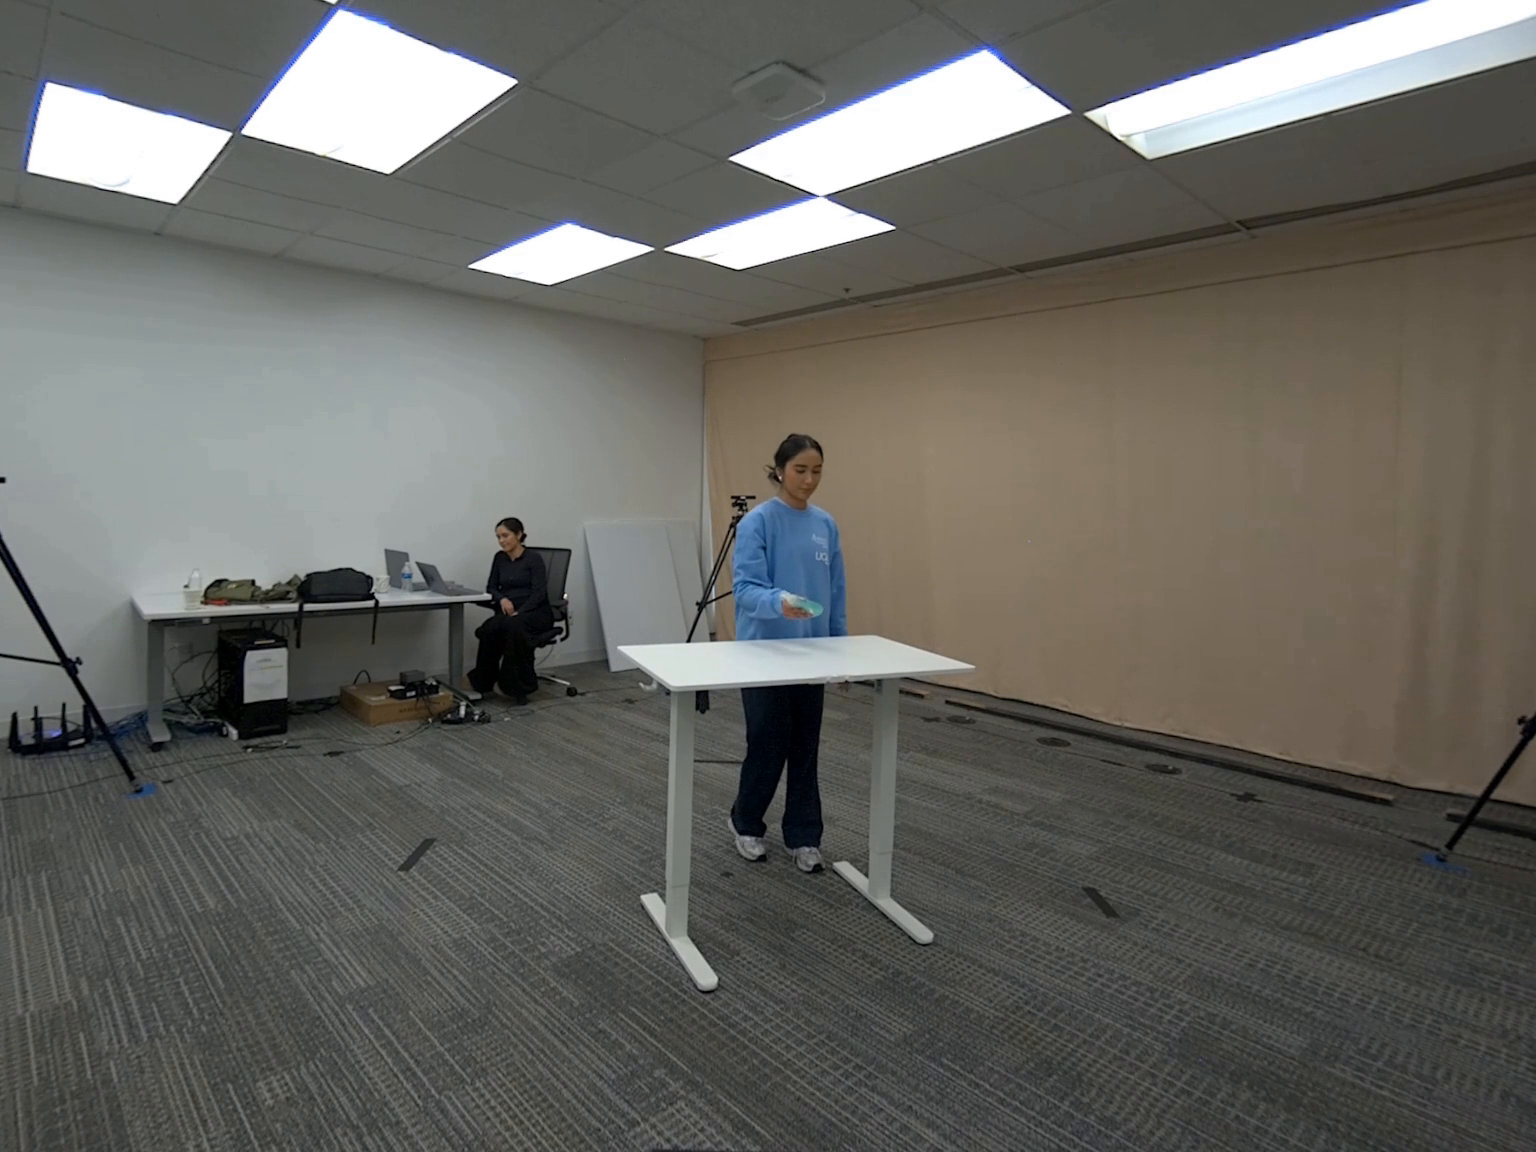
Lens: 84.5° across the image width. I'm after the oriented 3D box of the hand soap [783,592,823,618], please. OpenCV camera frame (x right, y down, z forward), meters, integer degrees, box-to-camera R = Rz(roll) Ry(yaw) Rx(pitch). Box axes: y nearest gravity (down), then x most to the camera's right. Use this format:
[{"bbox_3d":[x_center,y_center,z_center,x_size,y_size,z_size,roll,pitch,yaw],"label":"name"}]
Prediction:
[{"bbox_3d":[0.088,0.089,2.782,0.163,0.044,0.086,27,-18,-39],"label":"hand soap"}]
